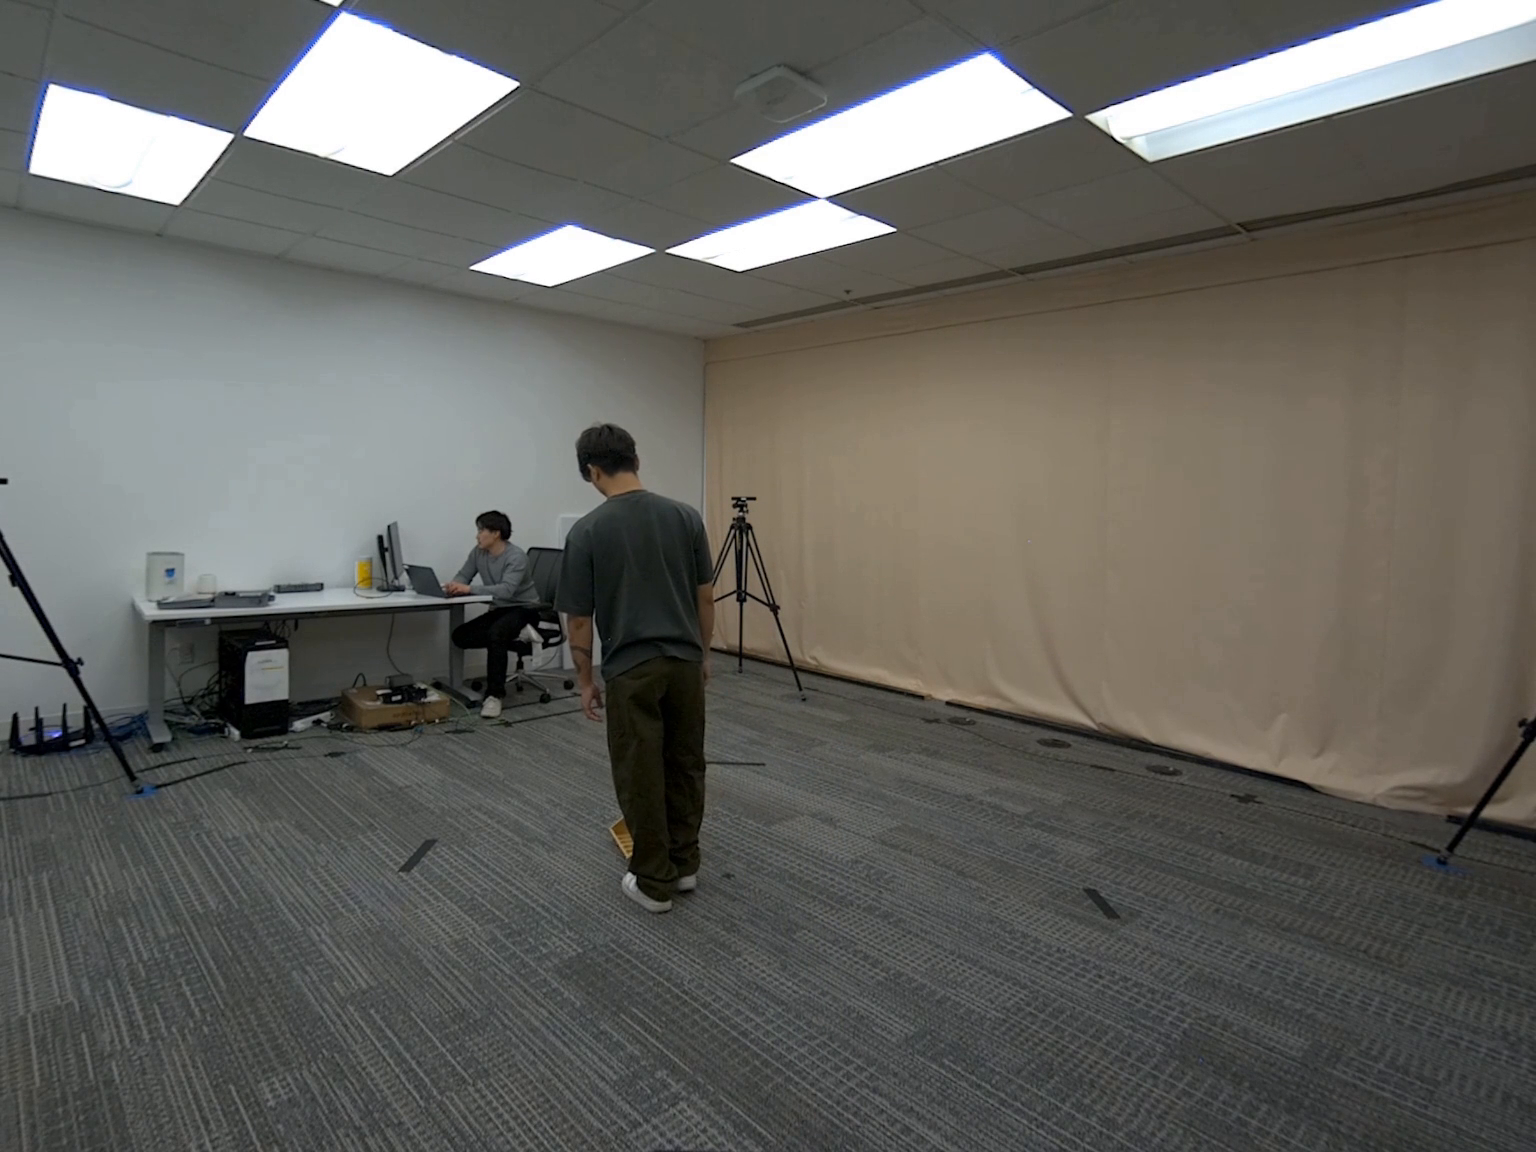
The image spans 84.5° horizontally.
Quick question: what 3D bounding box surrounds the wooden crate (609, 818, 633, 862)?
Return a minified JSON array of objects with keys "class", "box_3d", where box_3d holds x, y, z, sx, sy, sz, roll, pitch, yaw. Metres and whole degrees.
[{"class":"wooden crate","box_3d":[-0.453,0.951,3.316,0.297,0.272,0.331,0,4,-24]}]
